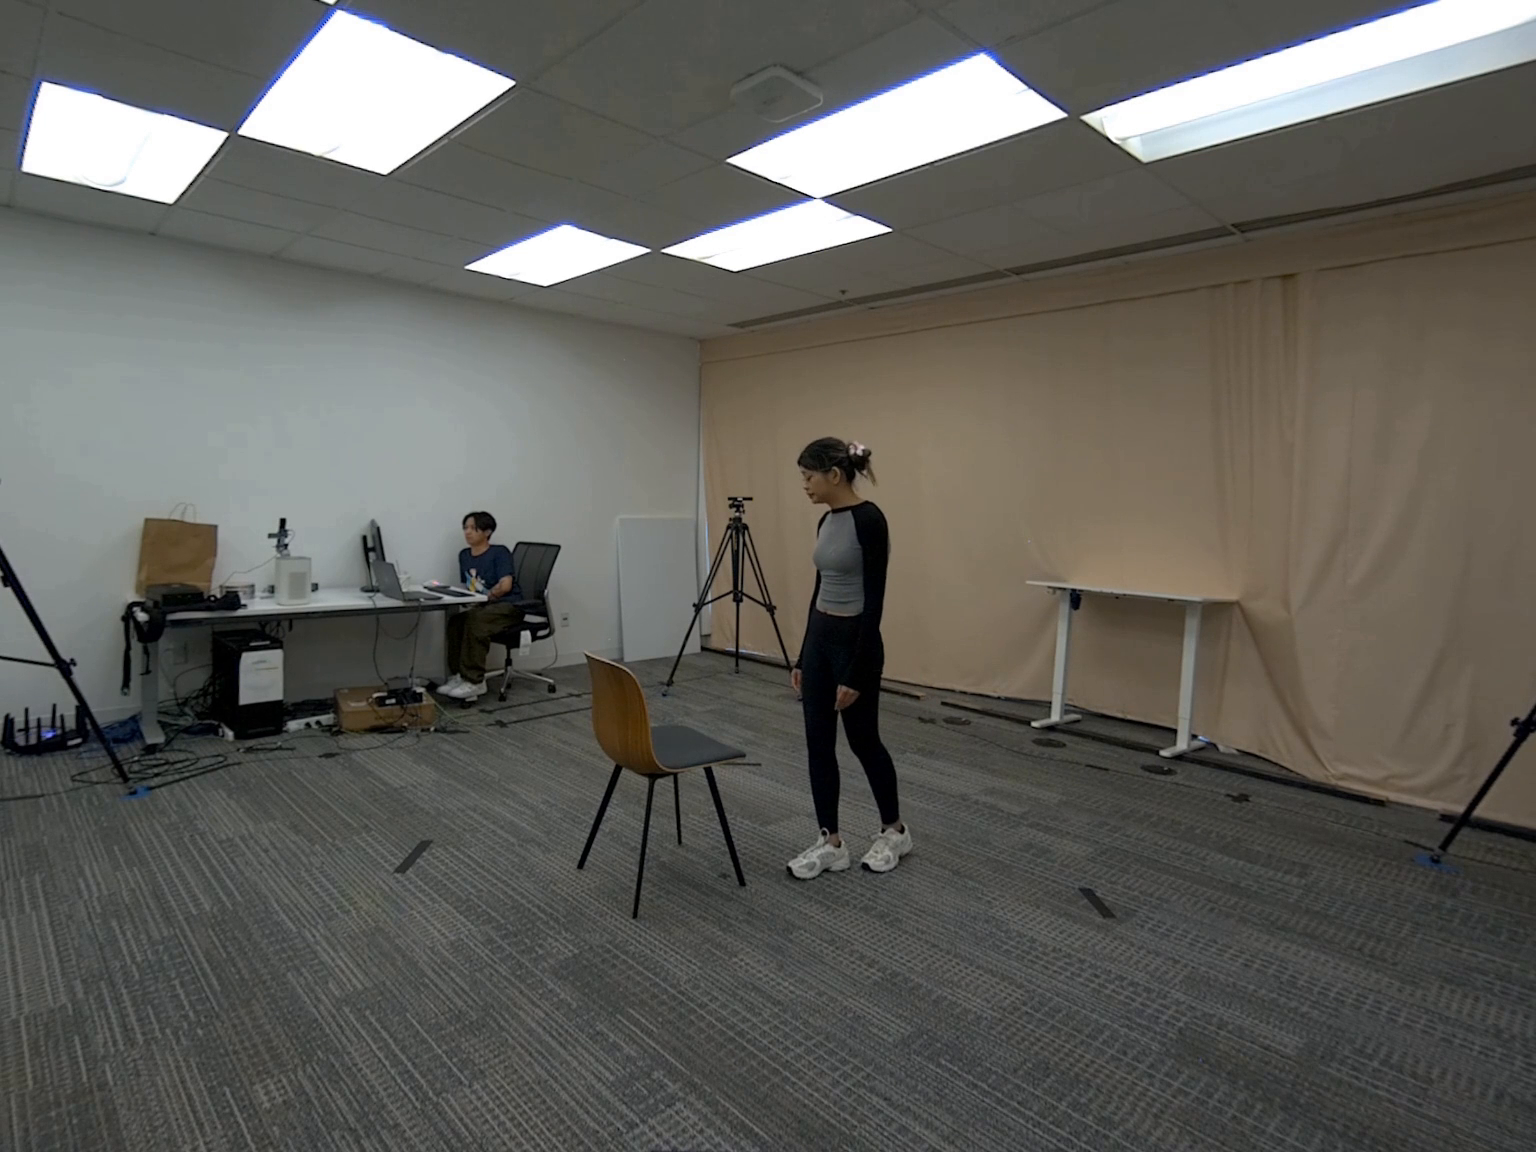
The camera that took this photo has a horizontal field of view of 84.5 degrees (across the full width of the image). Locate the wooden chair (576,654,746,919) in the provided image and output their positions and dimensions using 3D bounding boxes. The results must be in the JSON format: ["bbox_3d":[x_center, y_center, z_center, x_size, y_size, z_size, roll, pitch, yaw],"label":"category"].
[{"bbox_3d":[-0.383,0.678,3.055,0.512,0.874,0.490,-6,7,-36],"label":"wooden chair"}]
